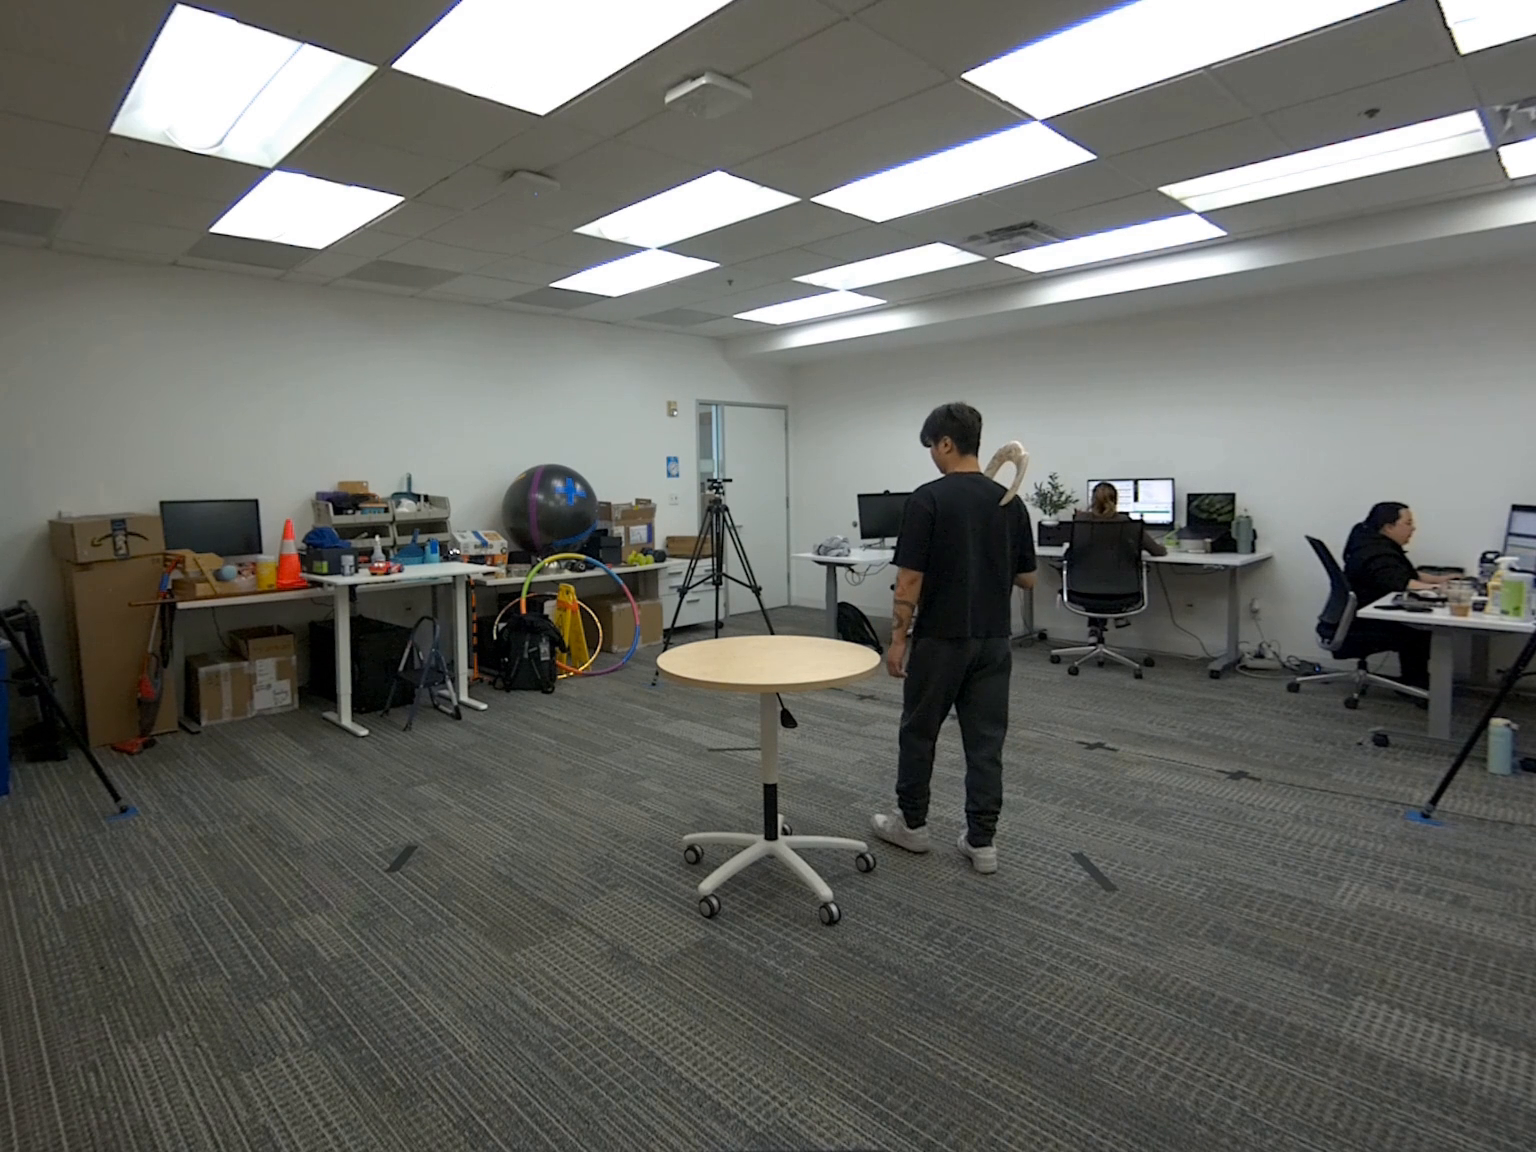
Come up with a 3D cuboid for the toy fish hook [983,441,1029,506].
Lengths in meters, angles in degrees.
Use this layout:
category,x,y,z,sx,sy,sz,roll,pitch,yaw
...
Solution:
category,x,y,z,sx,sy,sz,roll,pitch,yaw
toy fish hook,0.787,-0.255,3.098,0.047,0.501,0.231,18,31,-16
